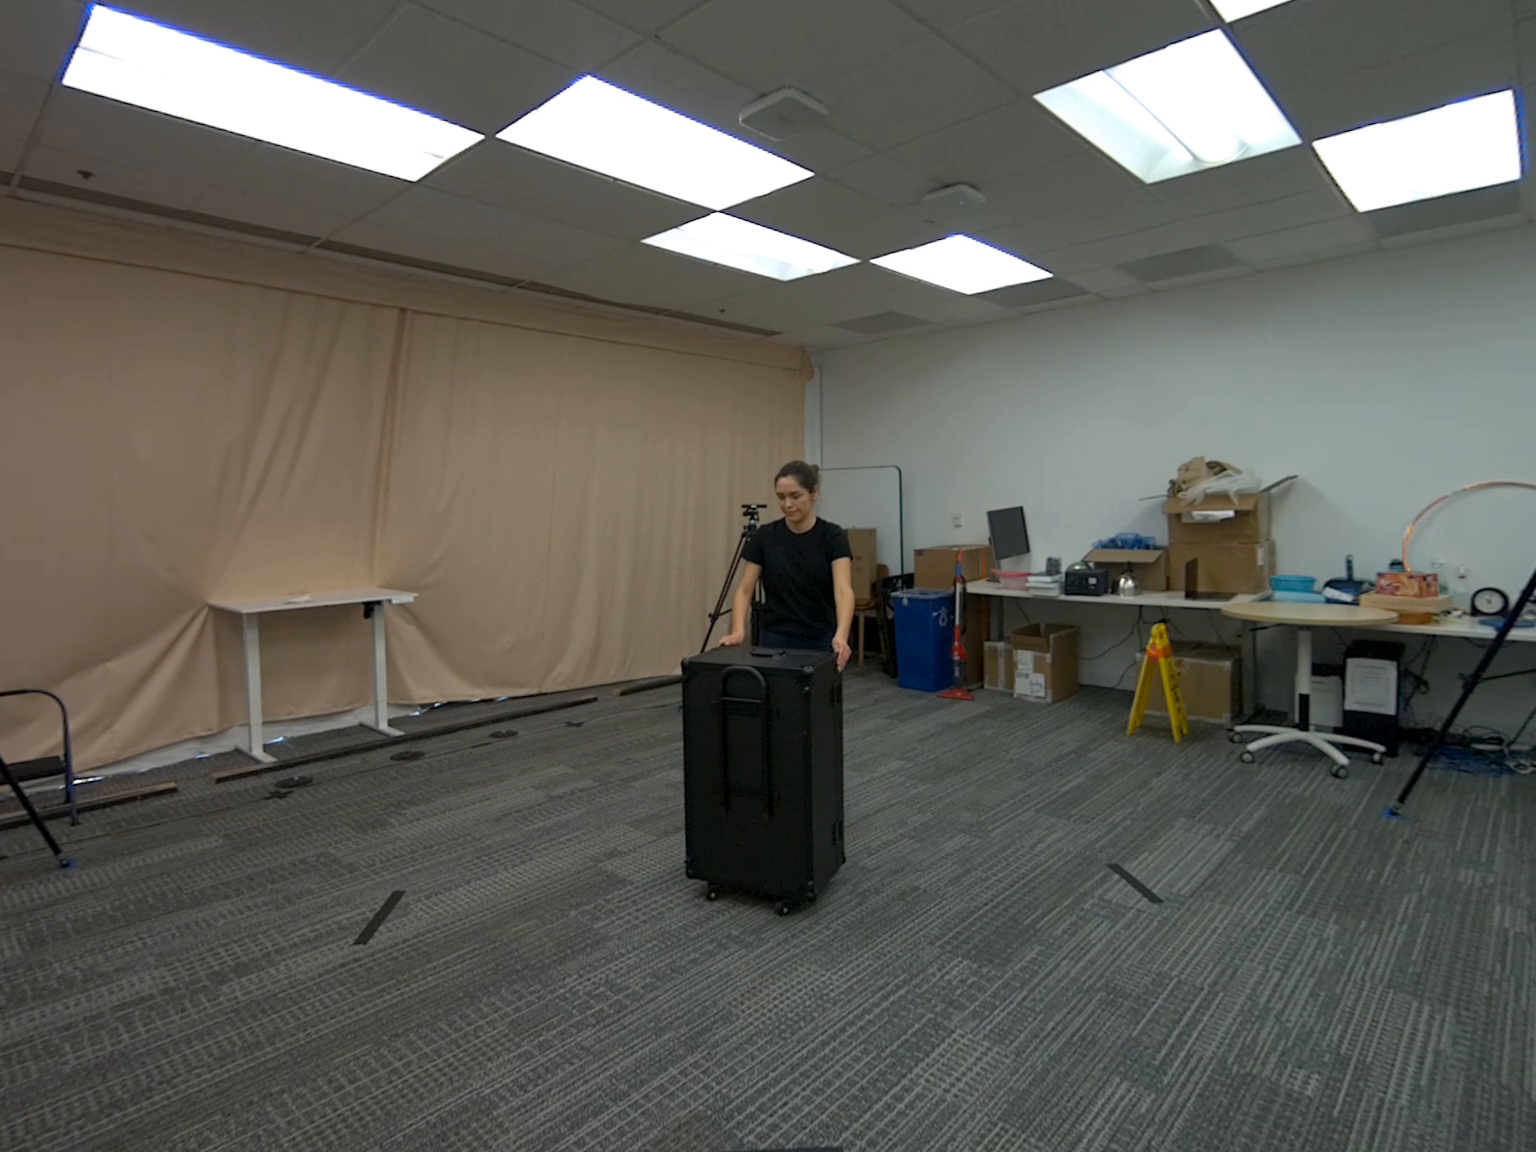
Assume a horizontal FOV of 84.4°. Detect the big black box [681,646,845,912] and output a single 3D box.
[{"bbox_3d":[0.001,0.712,3.019,0.534,0.859,0.387,1,4,25],"label":"big black box"}]
